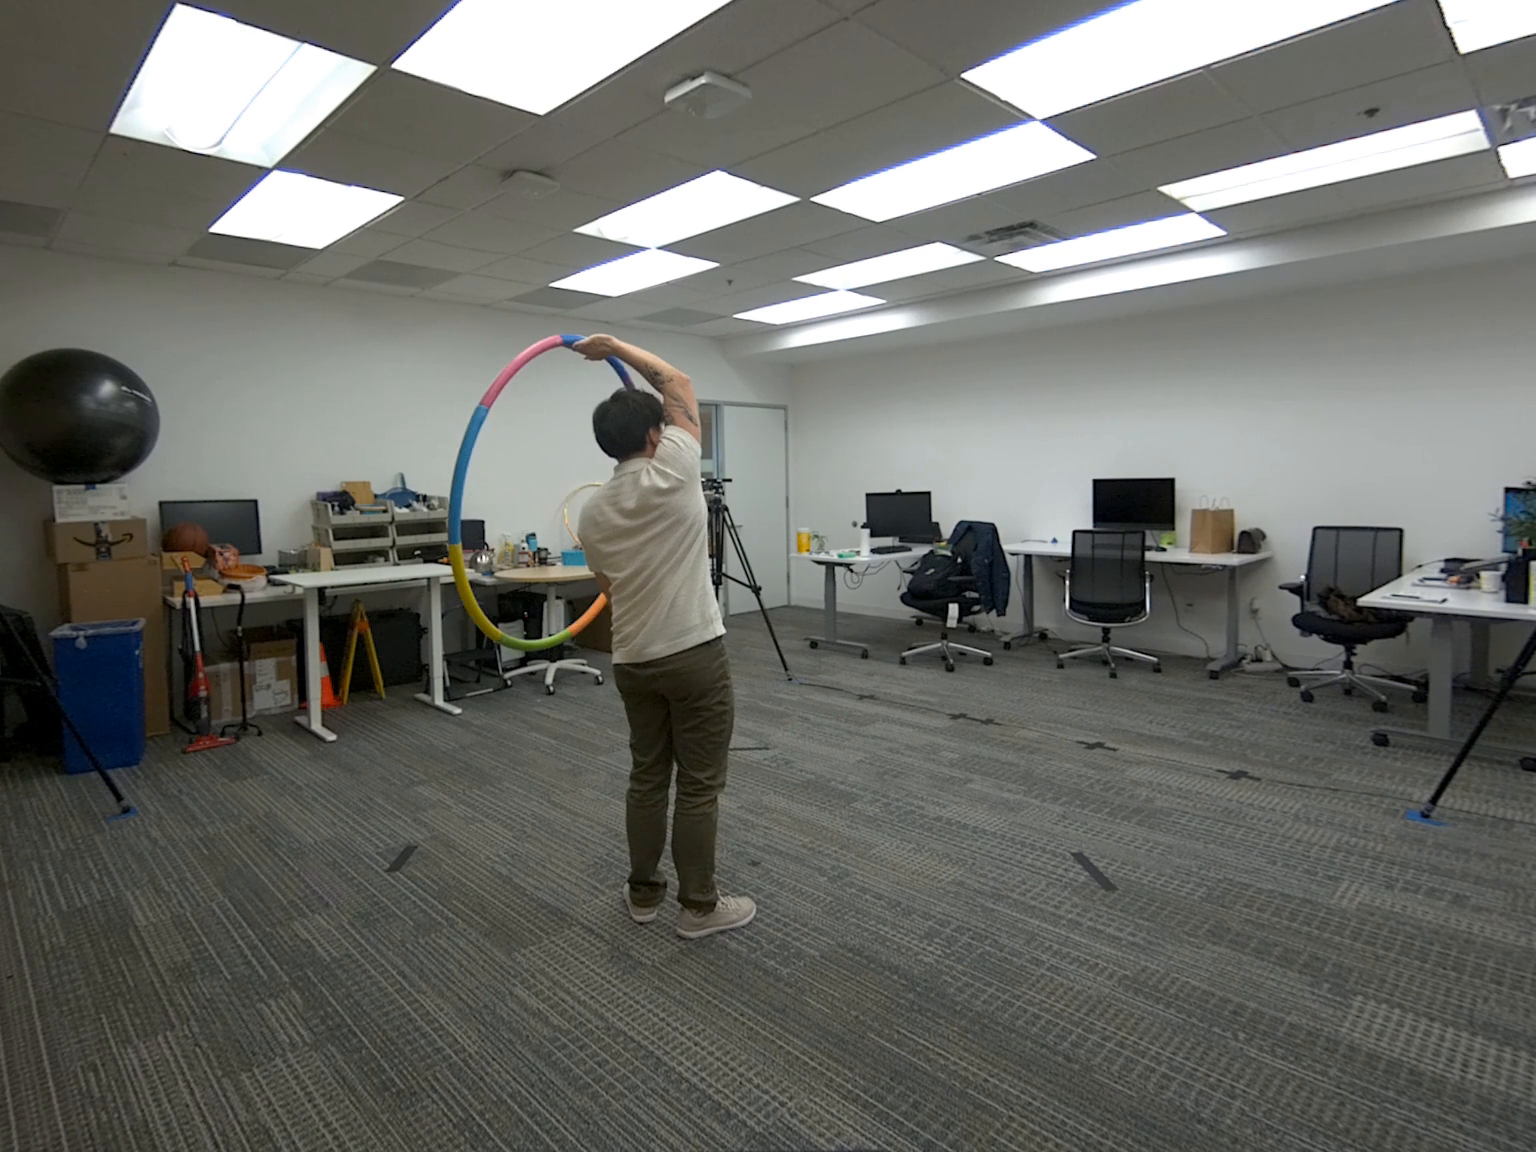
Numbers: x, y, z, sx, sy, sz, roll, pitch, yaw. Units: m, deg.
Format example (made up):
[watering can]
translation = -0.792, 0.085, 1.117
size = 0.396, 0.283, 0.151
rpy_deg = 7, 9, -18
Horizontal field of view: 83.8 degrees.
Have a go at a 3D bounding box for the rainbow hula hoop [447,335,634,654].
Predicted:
[rainbow hula hoop]
translation = -0.631, -0.244, 2.673
size = 0.036, 0.972, 0.961
rpy_deg = 11, 9, 22
